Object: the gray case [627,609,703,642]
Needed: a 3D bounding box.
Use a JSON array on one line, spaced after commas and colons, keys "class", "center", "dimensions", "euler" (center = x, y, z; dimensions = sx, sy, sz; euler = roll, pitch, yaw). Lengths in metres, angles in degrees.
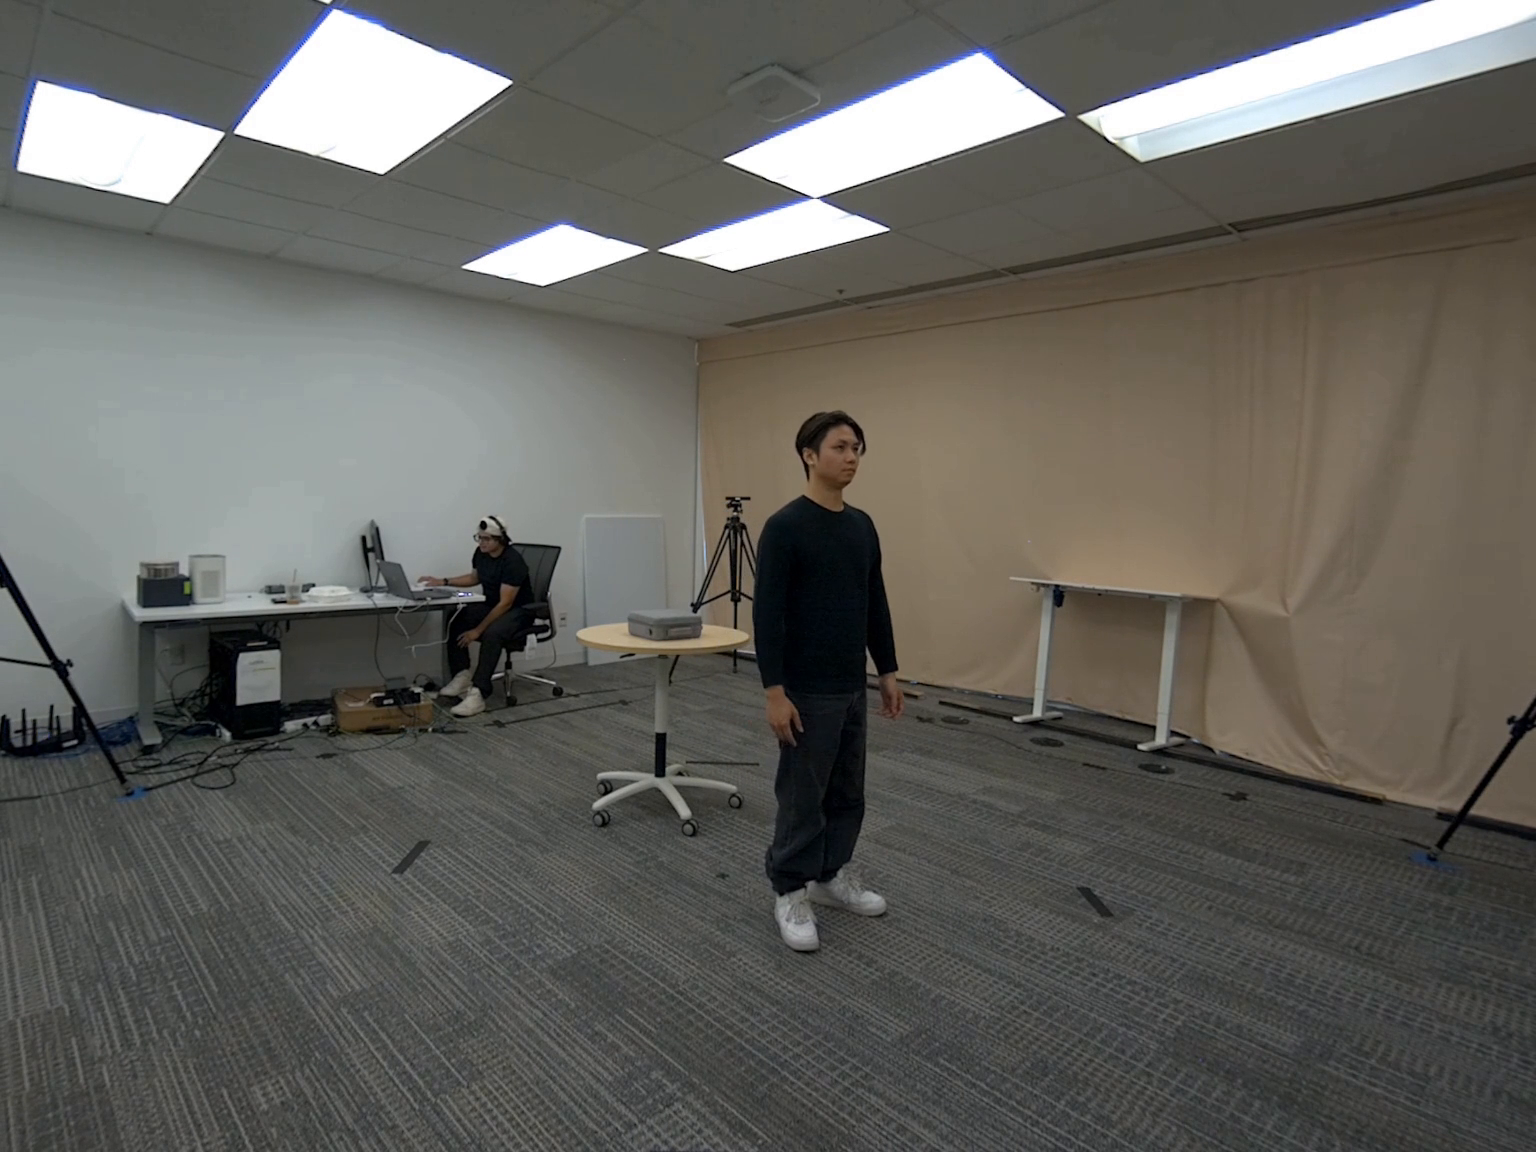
[{"class": "gray case", "center": [-0.460, 0.210, 3.698], "dimensions": [0.251, 0.104, 0.267], "euler": [0, 5, -38]}]
